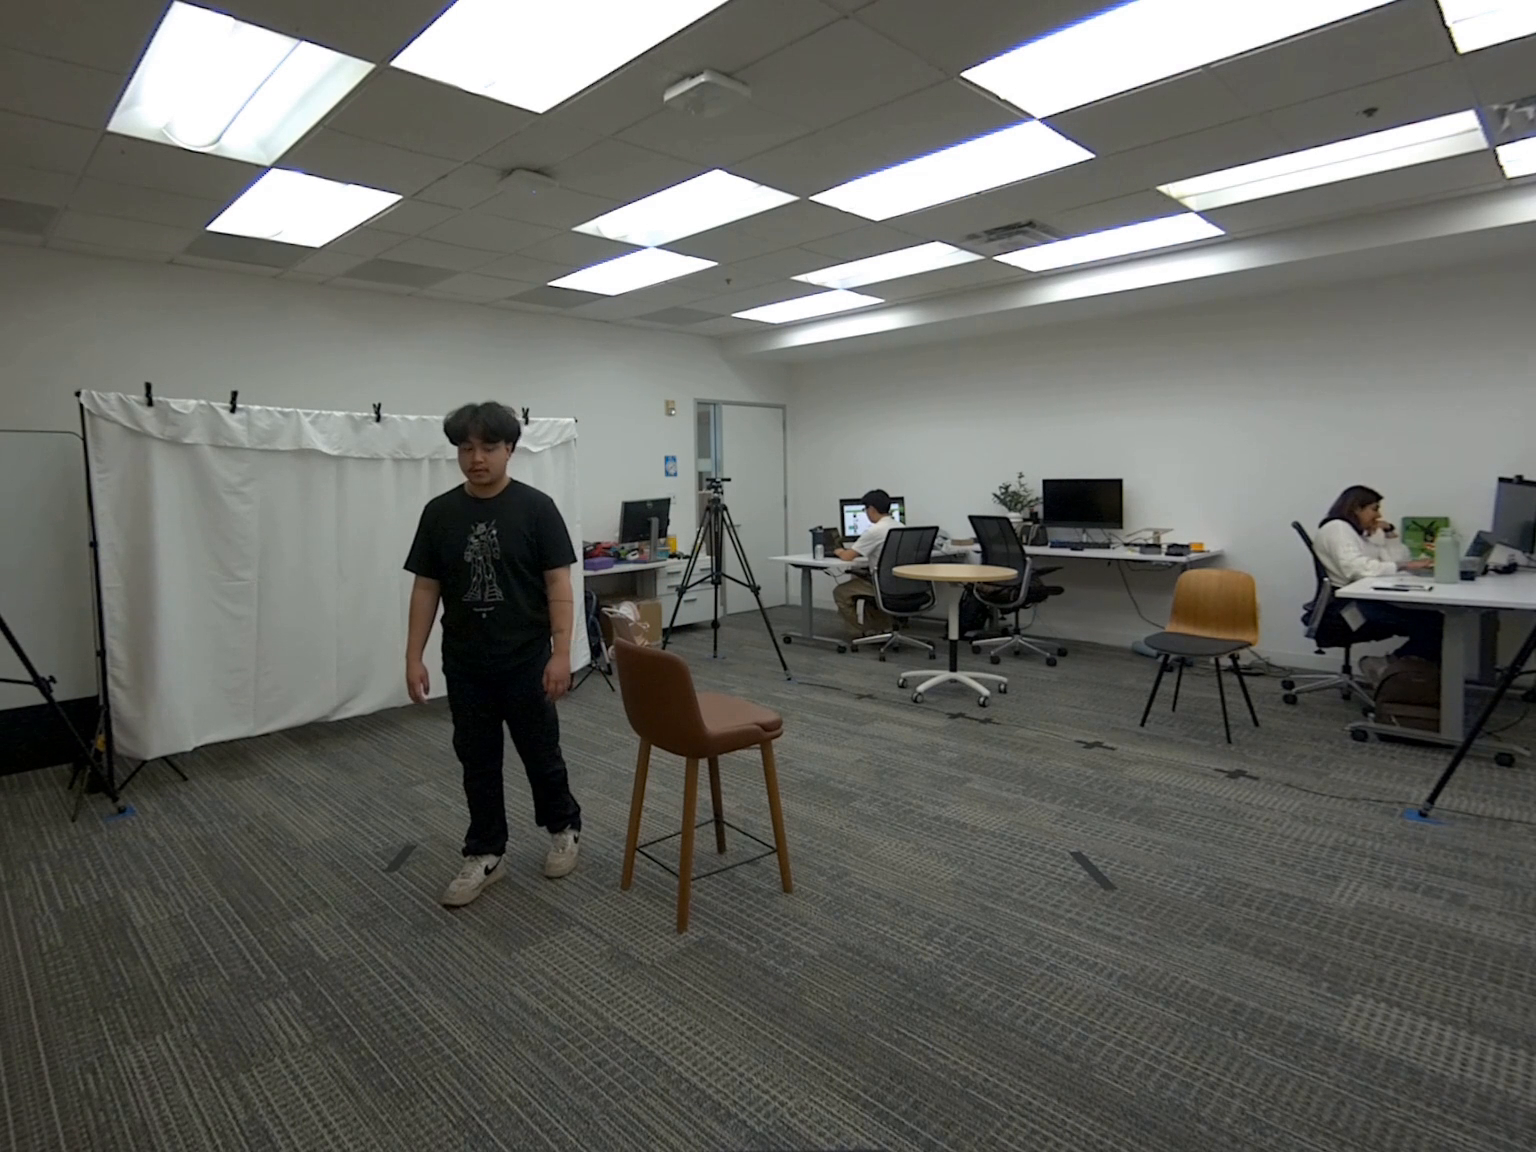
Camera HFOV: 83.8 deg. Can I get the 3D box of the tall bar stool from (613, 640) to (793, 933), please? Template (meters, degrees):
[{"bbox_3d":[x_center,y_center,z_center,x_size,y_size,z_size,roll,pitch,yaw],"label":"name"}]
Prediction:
[{"bbox_3d":[-0.229,0.633,2.881,0.456,0.885,0.470,-7,7,-38],"label":"tall bar stool"}]
